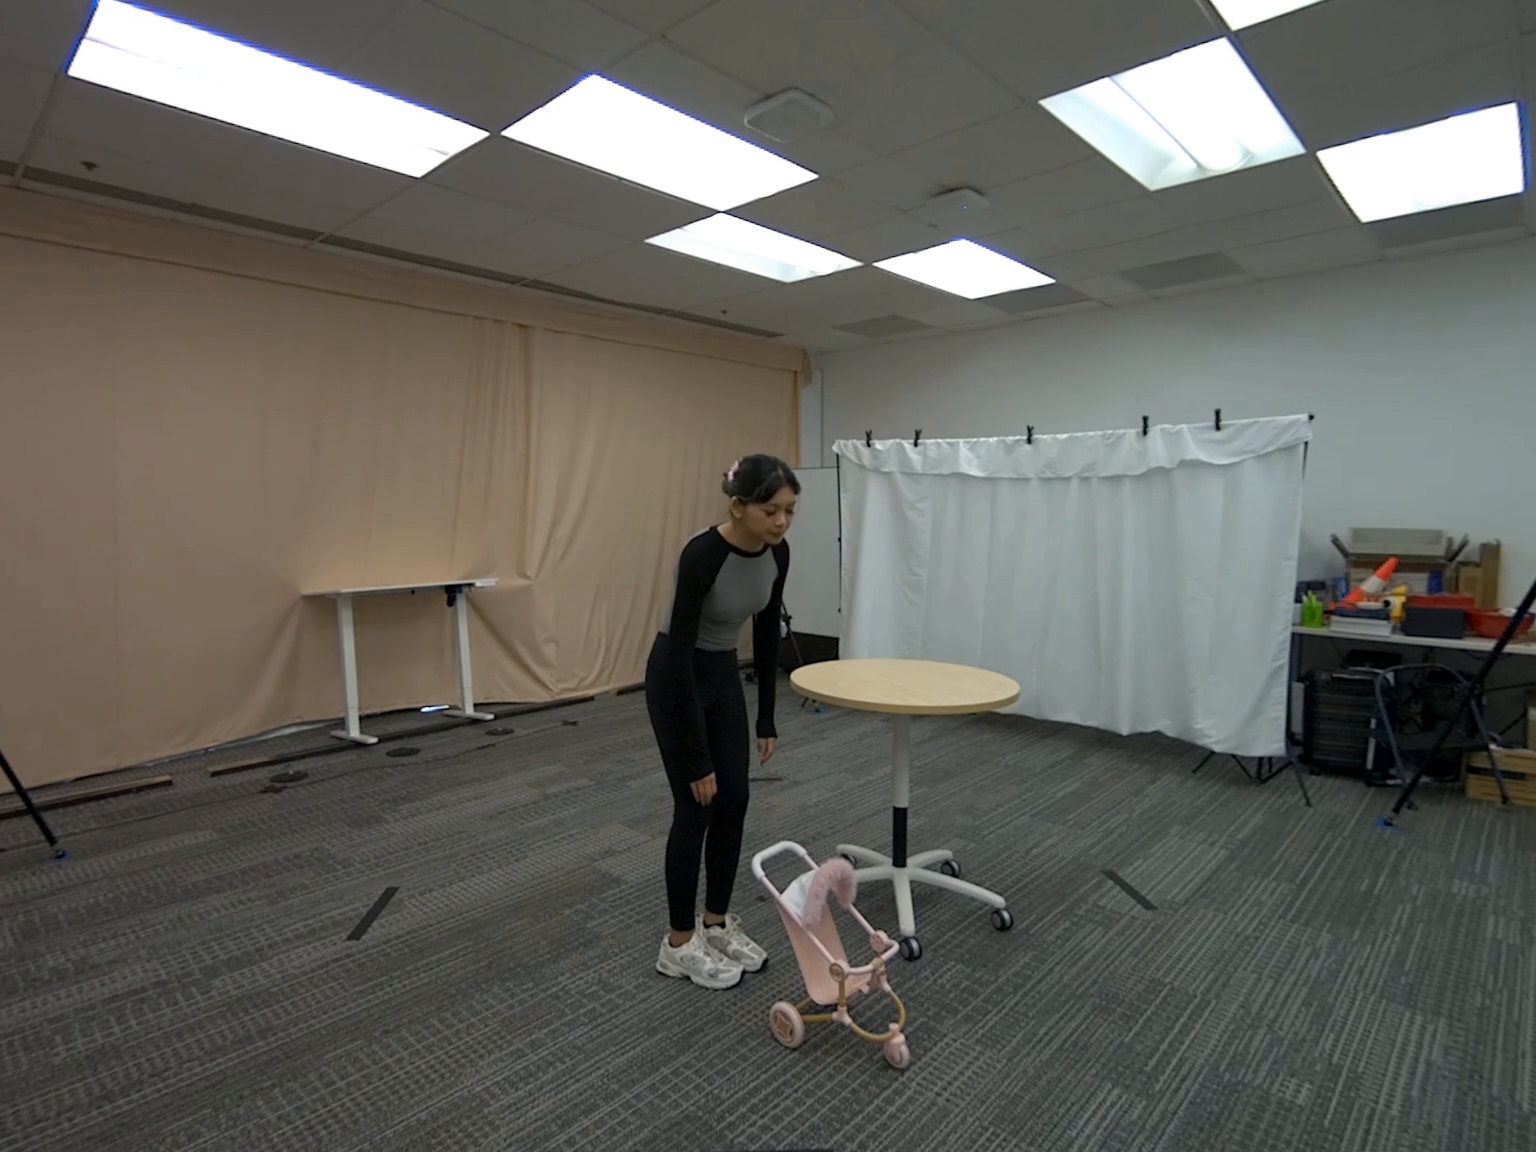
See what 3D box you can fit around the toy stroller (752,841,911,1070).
[{"bbox_3d":[0.182,0.985,2.204,0.273,0.538,0.350,-3,-10,-44],"label":"toy stroller"}]
